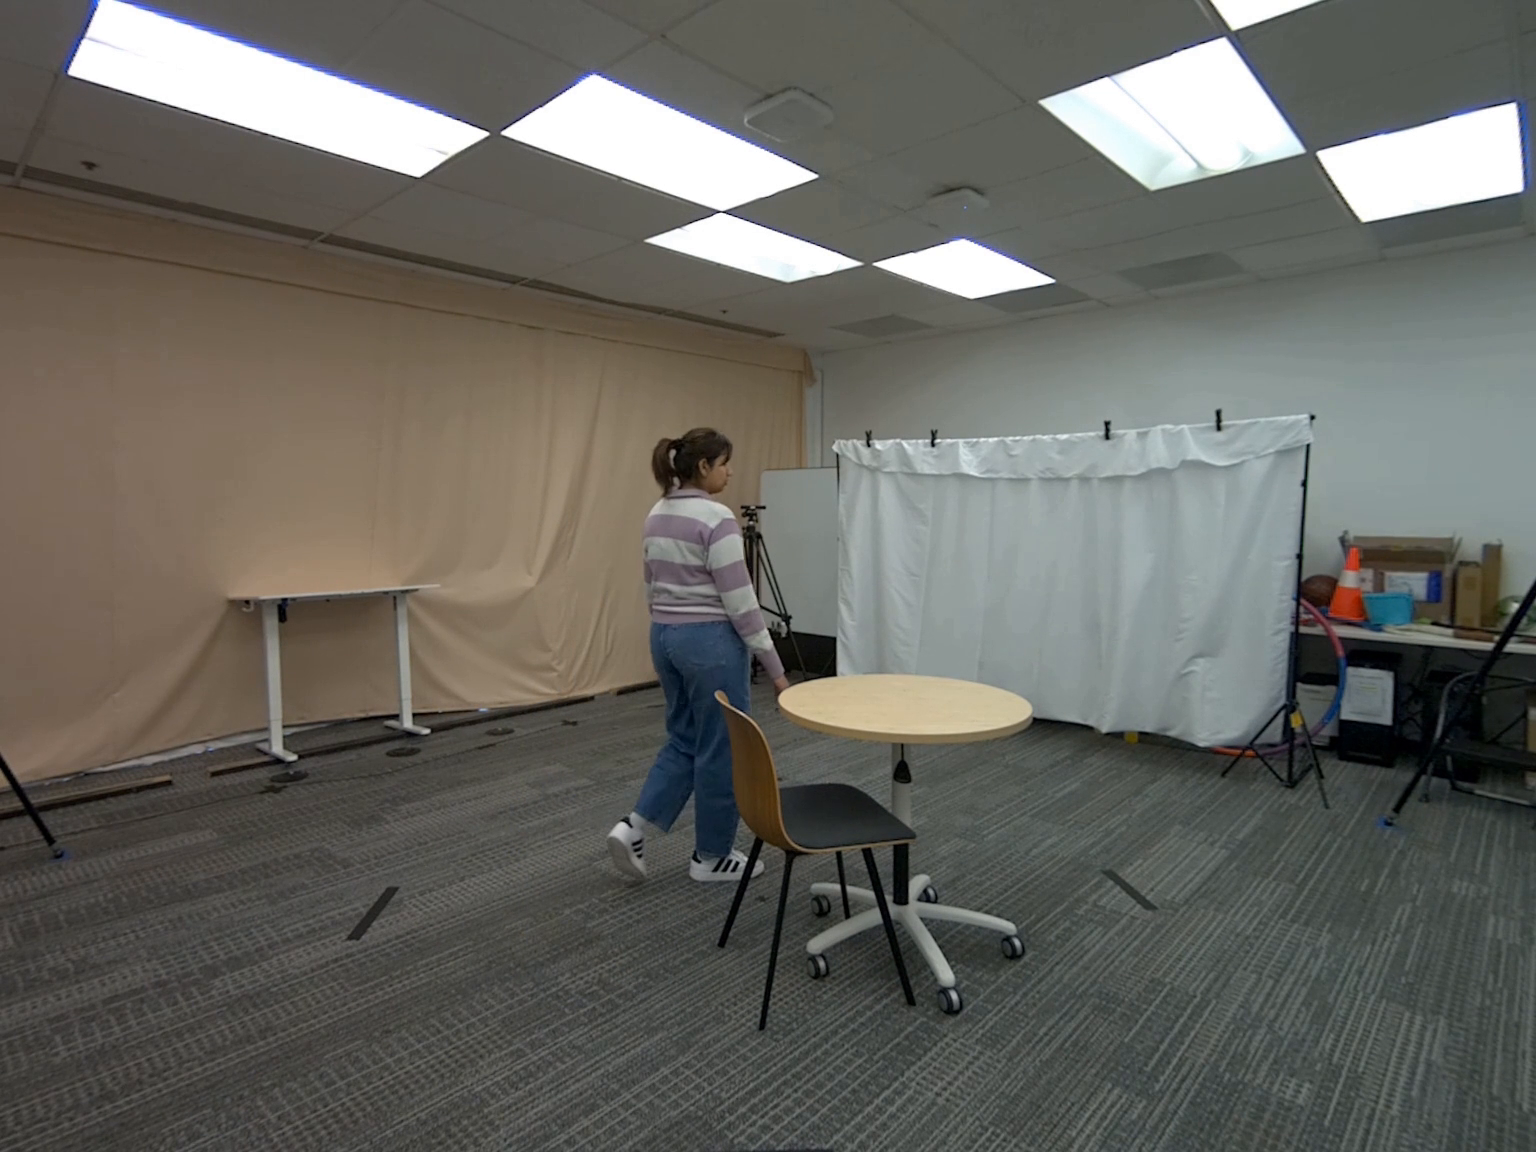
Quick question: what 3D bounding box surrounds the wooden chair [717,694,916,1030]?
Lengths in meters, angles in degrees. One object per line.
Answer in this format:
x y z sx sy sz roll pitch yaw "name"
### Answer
0.141 0.758 2.478 0.515 0.875 0.487 -5 4 -16 "wooden chair"
